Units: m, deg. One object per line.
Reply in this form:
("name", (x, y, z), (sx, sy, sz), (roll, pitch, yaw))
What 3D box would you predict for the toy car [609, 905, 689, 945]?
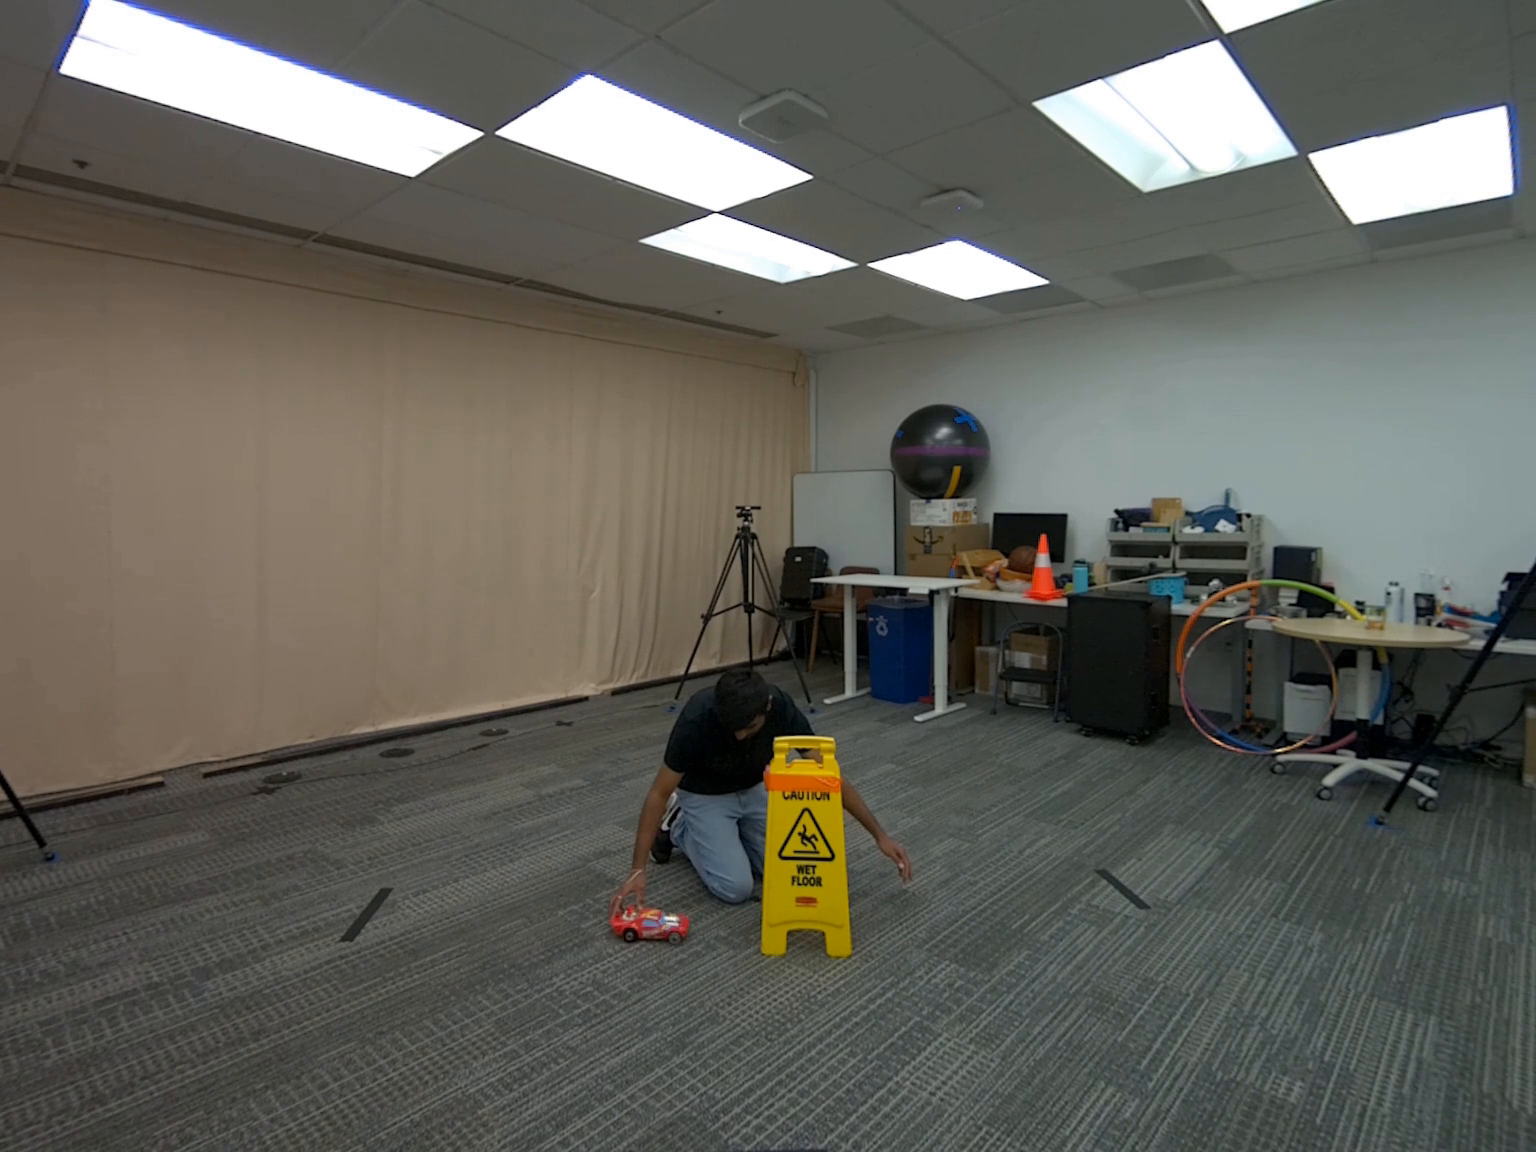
("toy car", (-0.366, 1.131, 2.746), (0.256, 0.083, 0.130), (10, 8, 3))
